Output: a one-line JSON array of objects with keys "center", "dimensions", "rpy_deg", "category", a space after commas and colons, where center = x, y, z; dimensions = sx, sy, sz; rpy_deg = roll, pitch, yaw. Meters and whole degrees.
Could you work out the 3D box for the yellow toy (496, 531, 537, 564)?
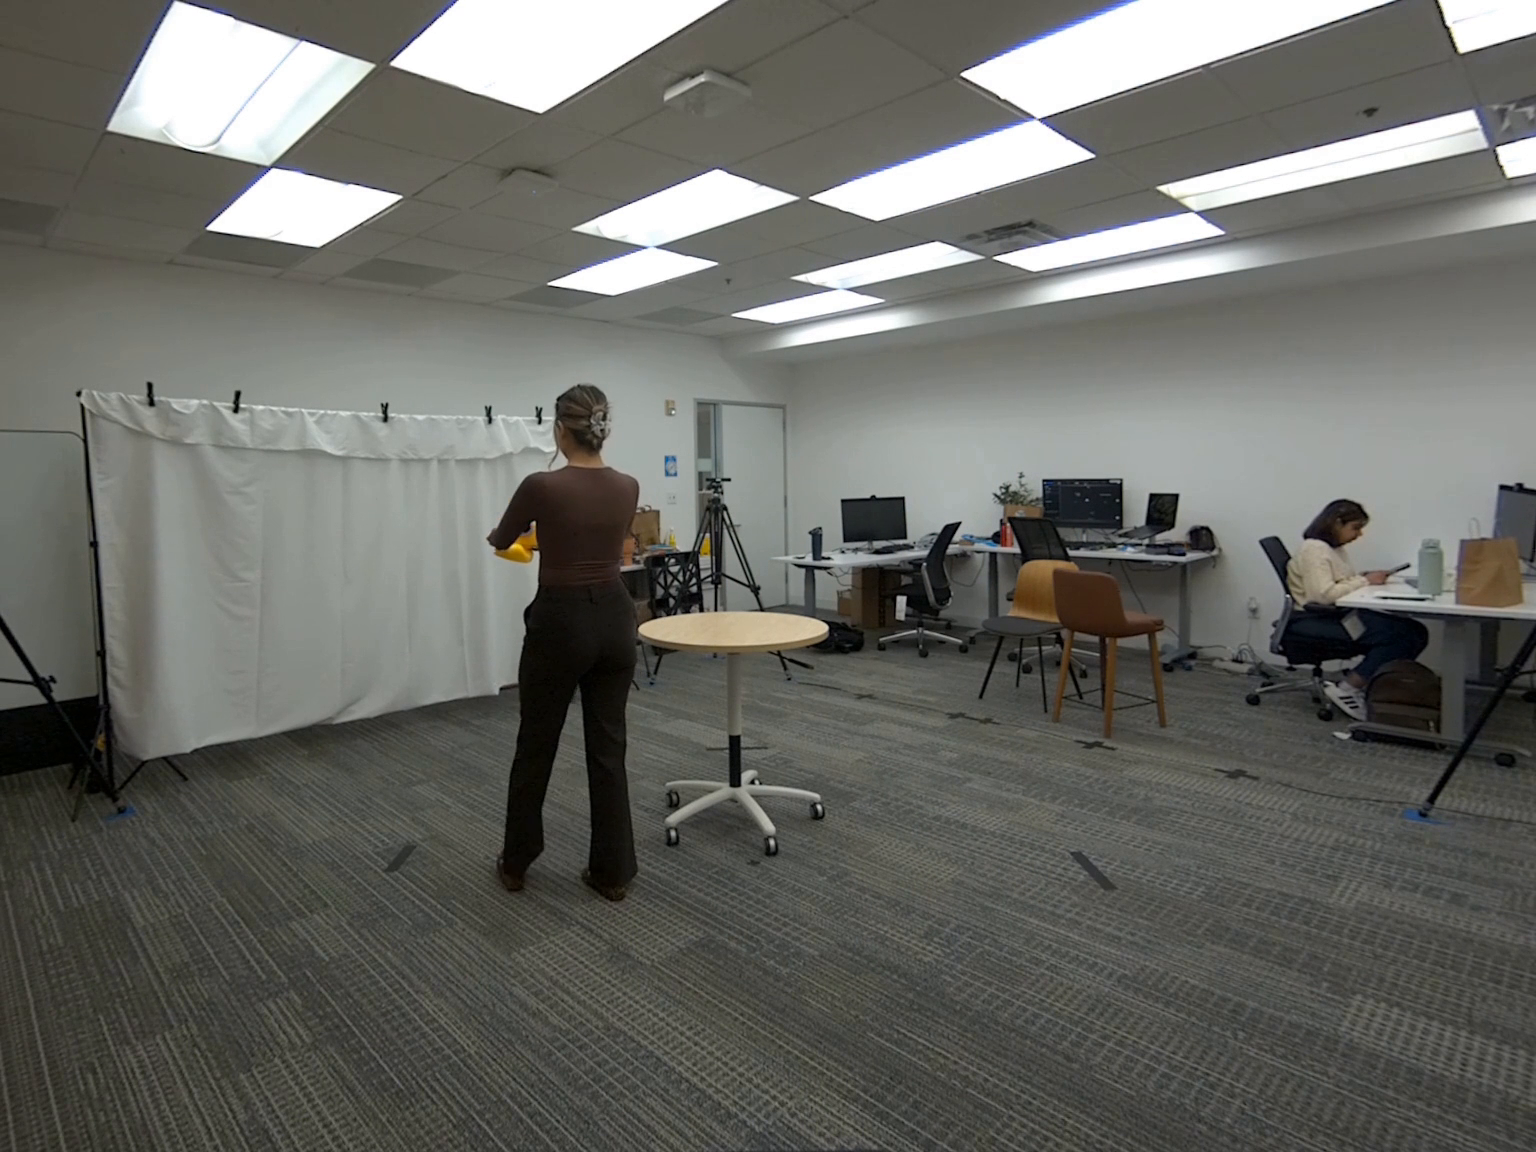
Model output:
[{"center": [-0.930, -0.202, 3.257], "dimensions": [0.187, 0.229, 0.213], "rpy_deg": [13, 21, -35], "category": "yellow toy"}]
